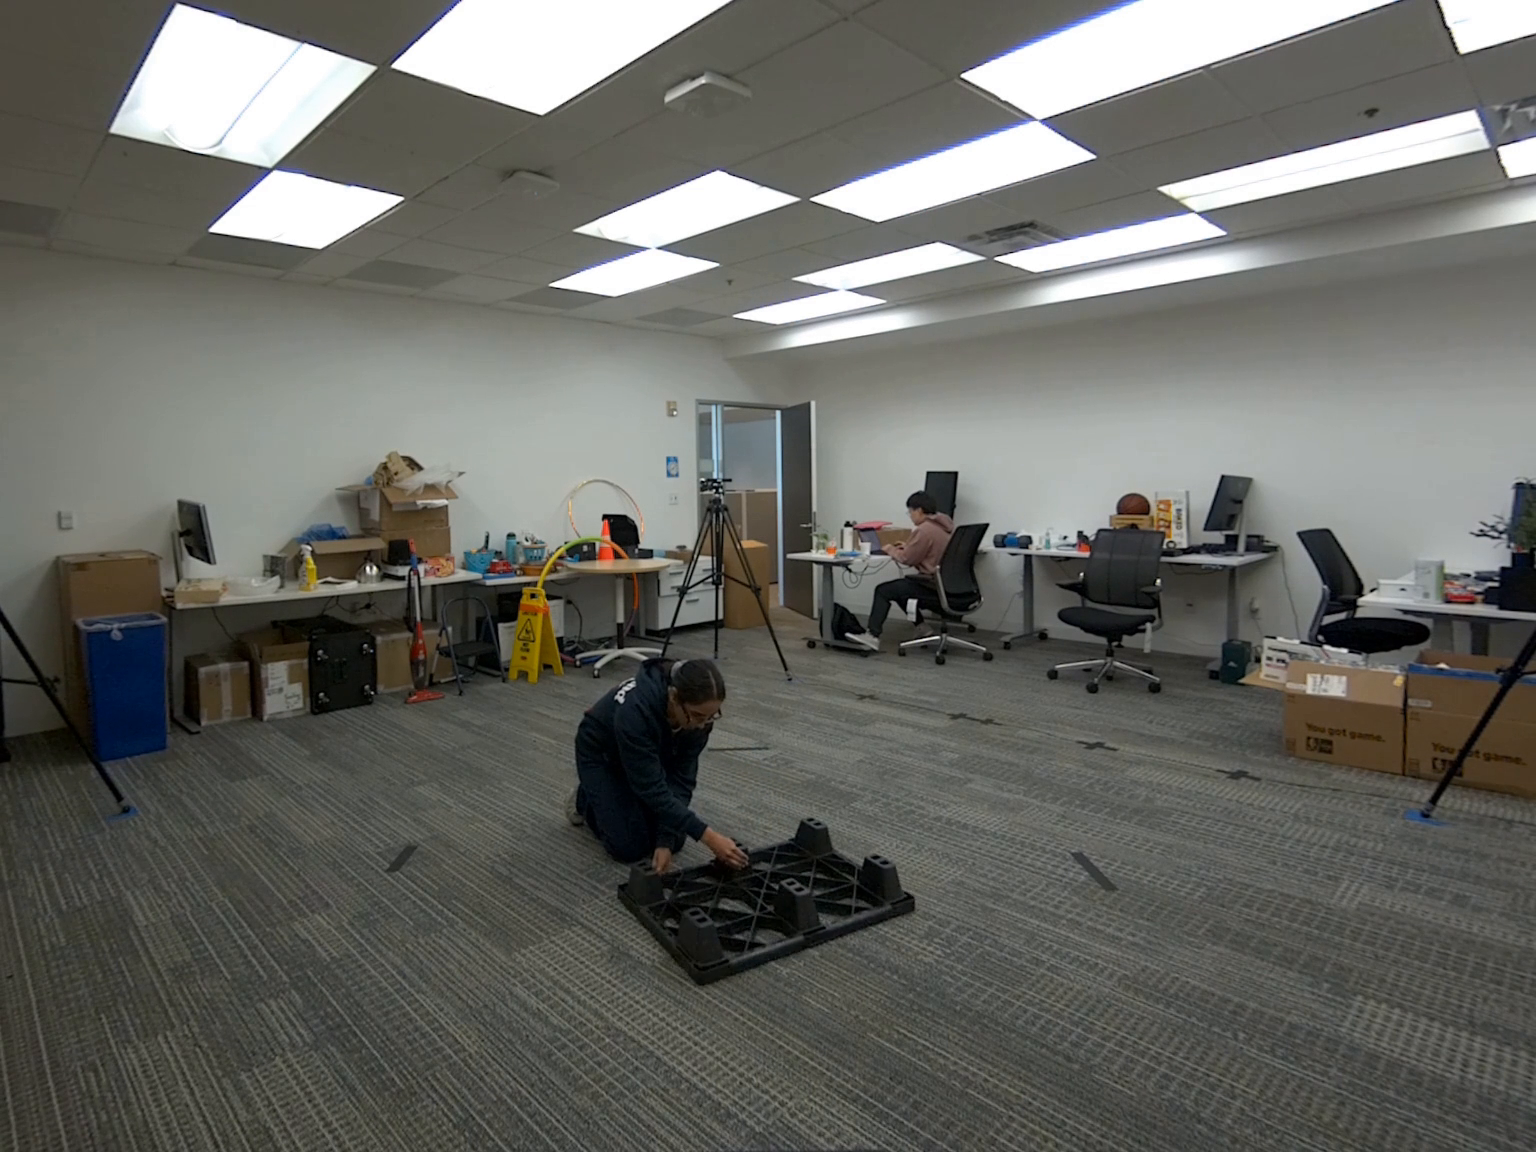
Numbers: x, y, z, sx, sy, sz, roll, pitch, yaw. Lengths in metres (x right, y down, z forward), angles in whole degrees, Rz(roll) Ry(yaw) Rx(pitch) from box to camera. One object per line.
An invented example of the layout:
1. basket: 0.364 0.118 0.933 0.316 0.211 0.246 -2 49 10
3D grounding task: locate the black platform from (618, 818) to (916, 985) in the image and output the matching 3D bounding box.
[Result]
1. black platform: -0.012 1.014 2.795 0.787 0.142 0.622 -5 7 -31
